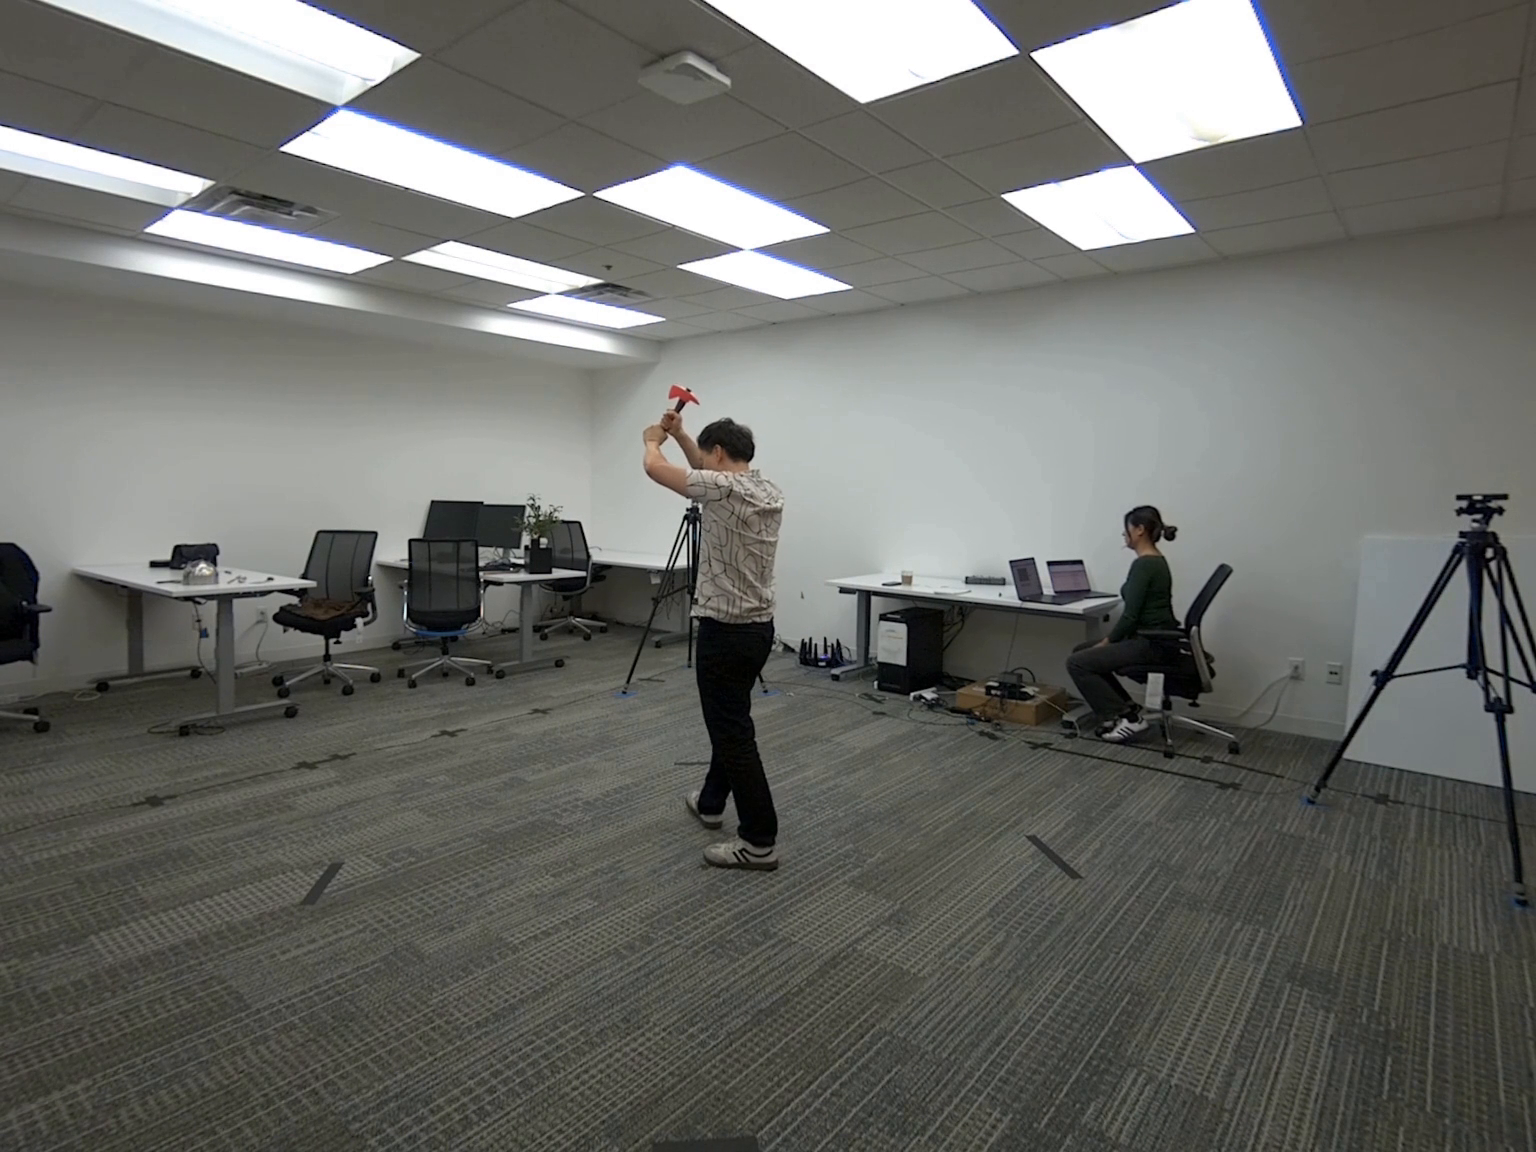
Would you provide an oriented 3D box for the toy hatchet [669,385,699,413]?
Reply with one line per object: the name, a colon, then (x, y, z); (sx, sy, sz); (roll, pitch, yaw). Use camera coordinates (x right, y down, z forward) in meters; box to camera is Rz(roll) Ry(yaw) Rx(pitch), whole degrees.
toy hatchet: (-0.427, -0.669, 3.426); (0.271, 0.131, 0.029); (-35, 2, 17)
